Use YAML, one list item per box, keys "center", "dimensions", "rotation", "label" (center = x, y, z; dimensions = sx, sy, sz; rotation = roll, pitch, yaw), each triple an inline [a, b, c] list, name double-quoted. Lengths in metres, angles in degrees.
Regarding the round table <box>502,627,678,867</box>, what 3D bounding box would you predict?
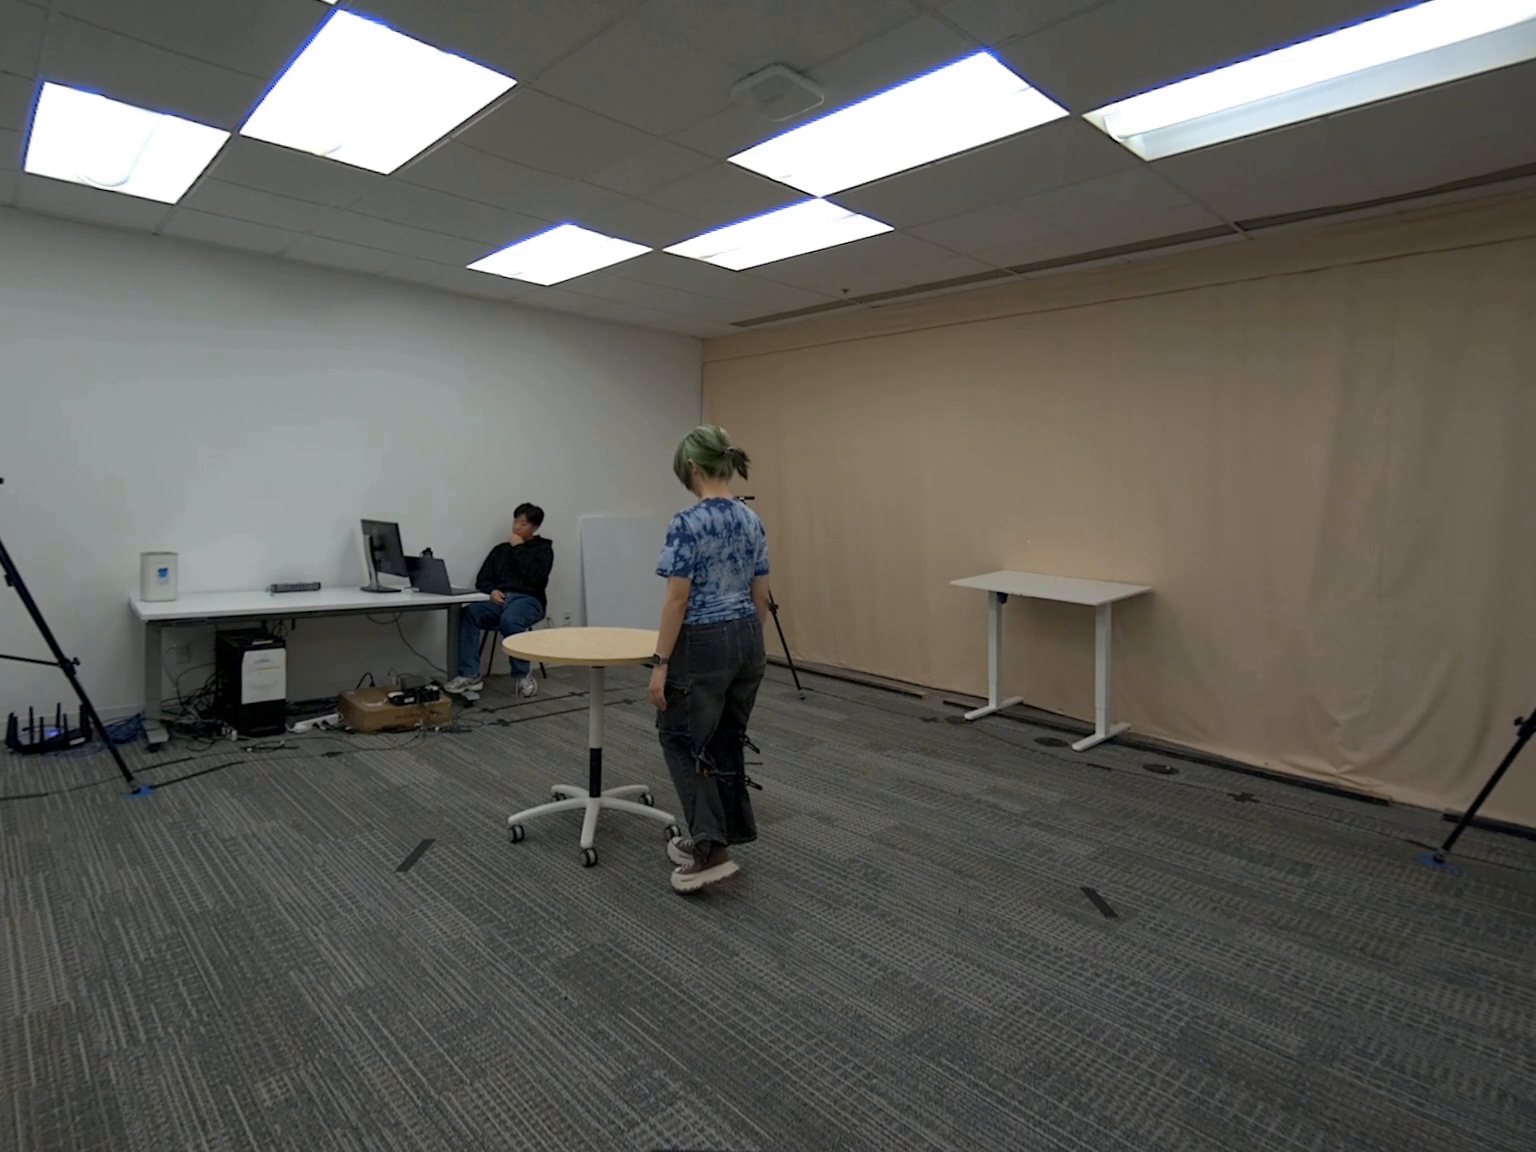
- center: [-0.722, 0.667, 3.493]
  dimensions: [0.763, 0.792, 0.766]
  rotation: [1, 3, -1]
  label: "round table"
